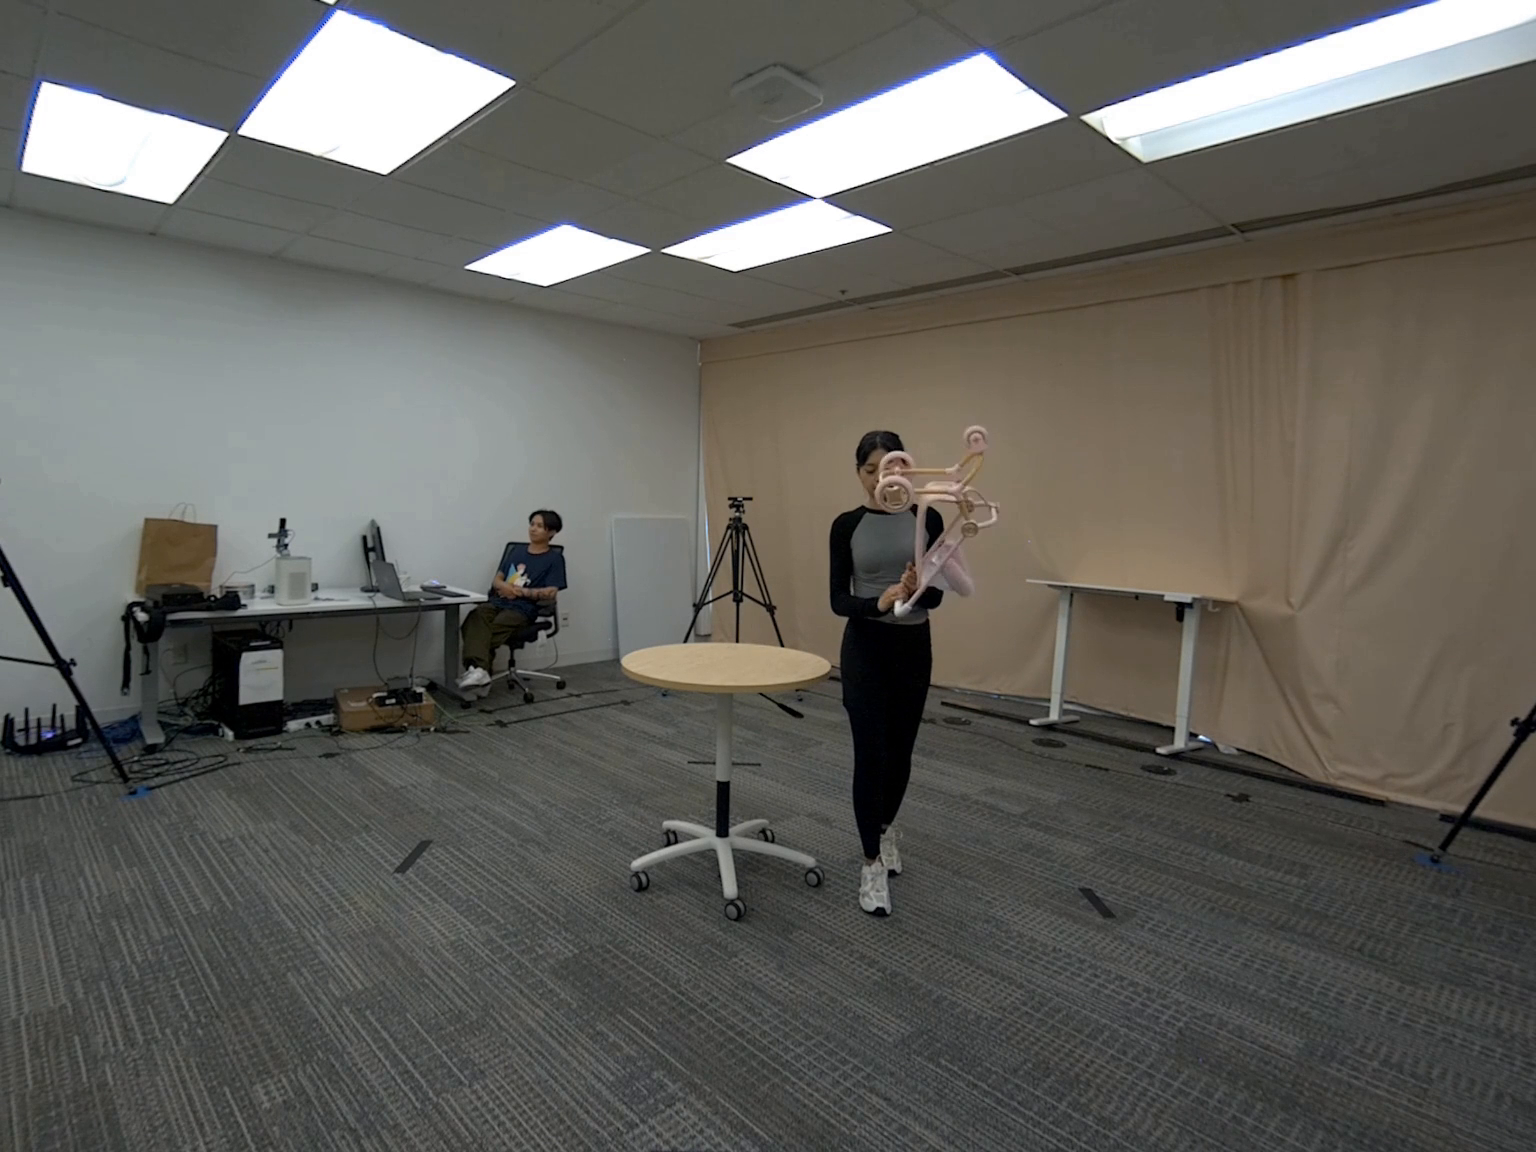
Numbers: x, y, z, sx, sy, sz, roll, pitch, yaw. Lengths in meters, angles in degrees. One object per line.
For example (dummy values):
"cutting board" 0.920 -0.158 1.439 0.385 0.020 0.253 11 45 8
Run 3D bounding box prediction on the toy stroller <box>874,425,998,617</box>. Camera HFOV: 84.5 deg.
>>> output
"toy stroller" 0.507 -0.152 2.467 0.344 0.526 0.284 -8 19 10
